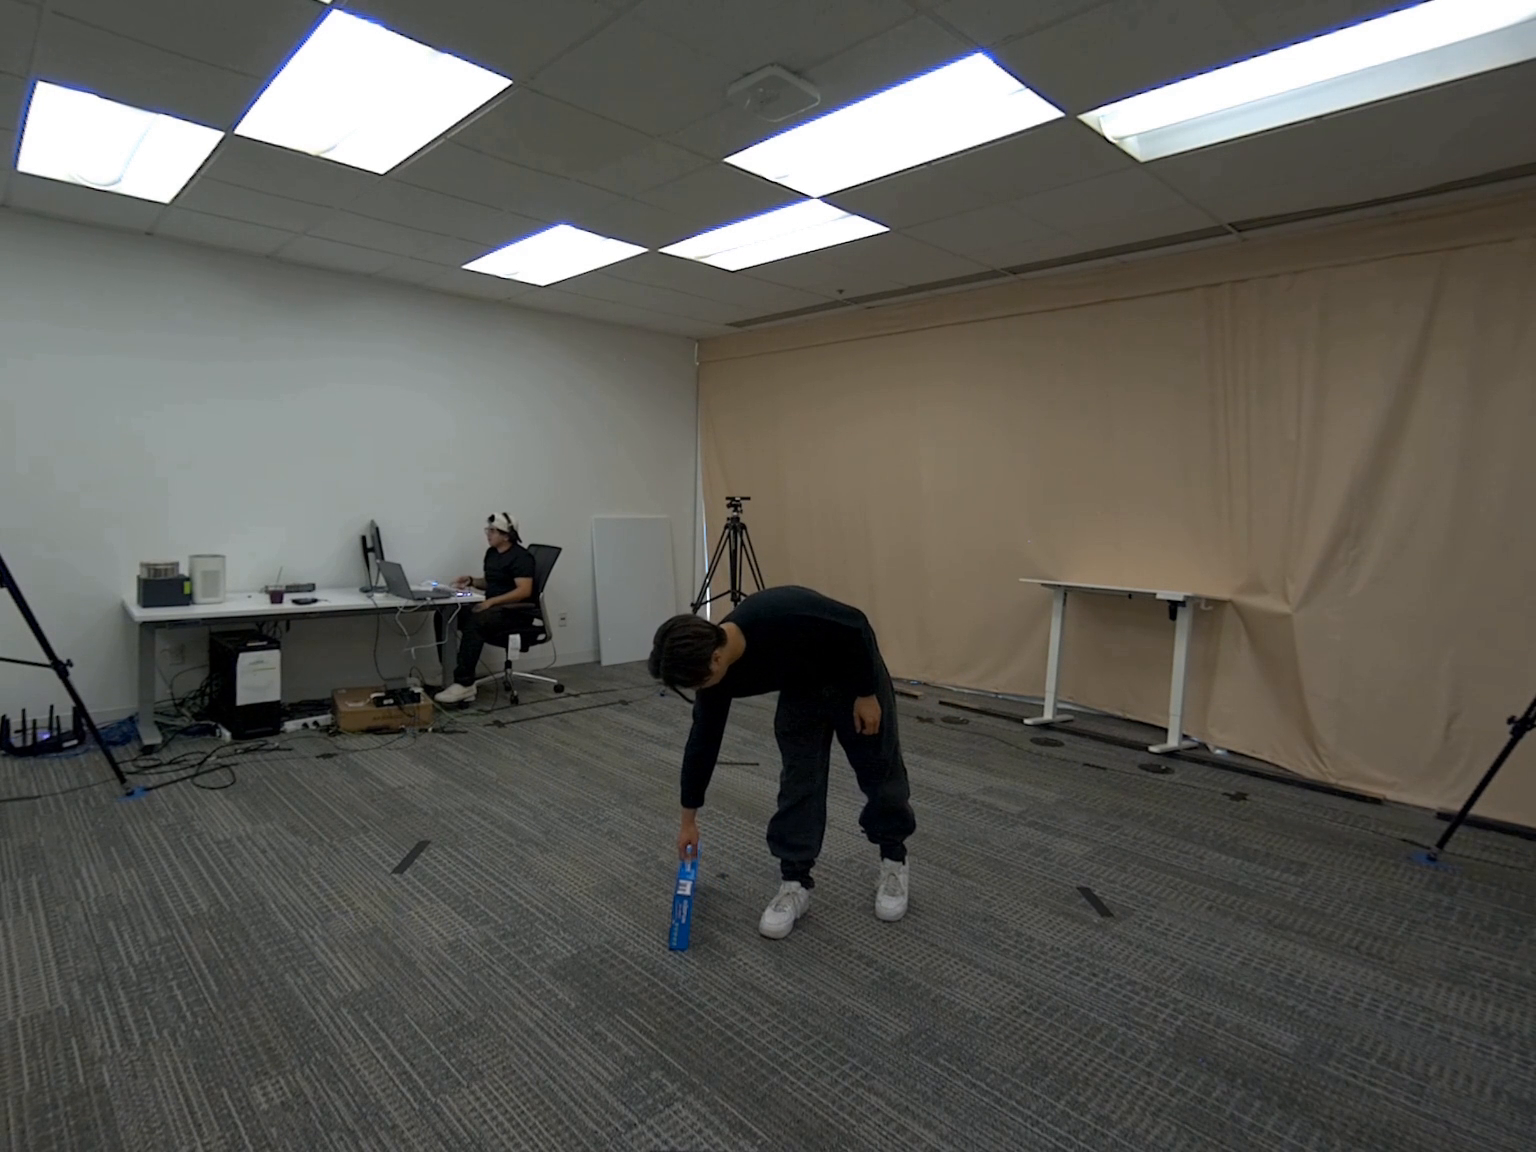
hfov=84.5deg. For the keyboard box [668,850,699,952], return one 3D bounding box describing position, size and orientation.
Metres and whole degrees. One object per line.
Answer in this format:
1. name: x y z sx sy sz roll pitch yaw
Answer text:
1. keyboard box: -0.278 1.040 2.790 0.059 0.175 0.438 6 5 -2
